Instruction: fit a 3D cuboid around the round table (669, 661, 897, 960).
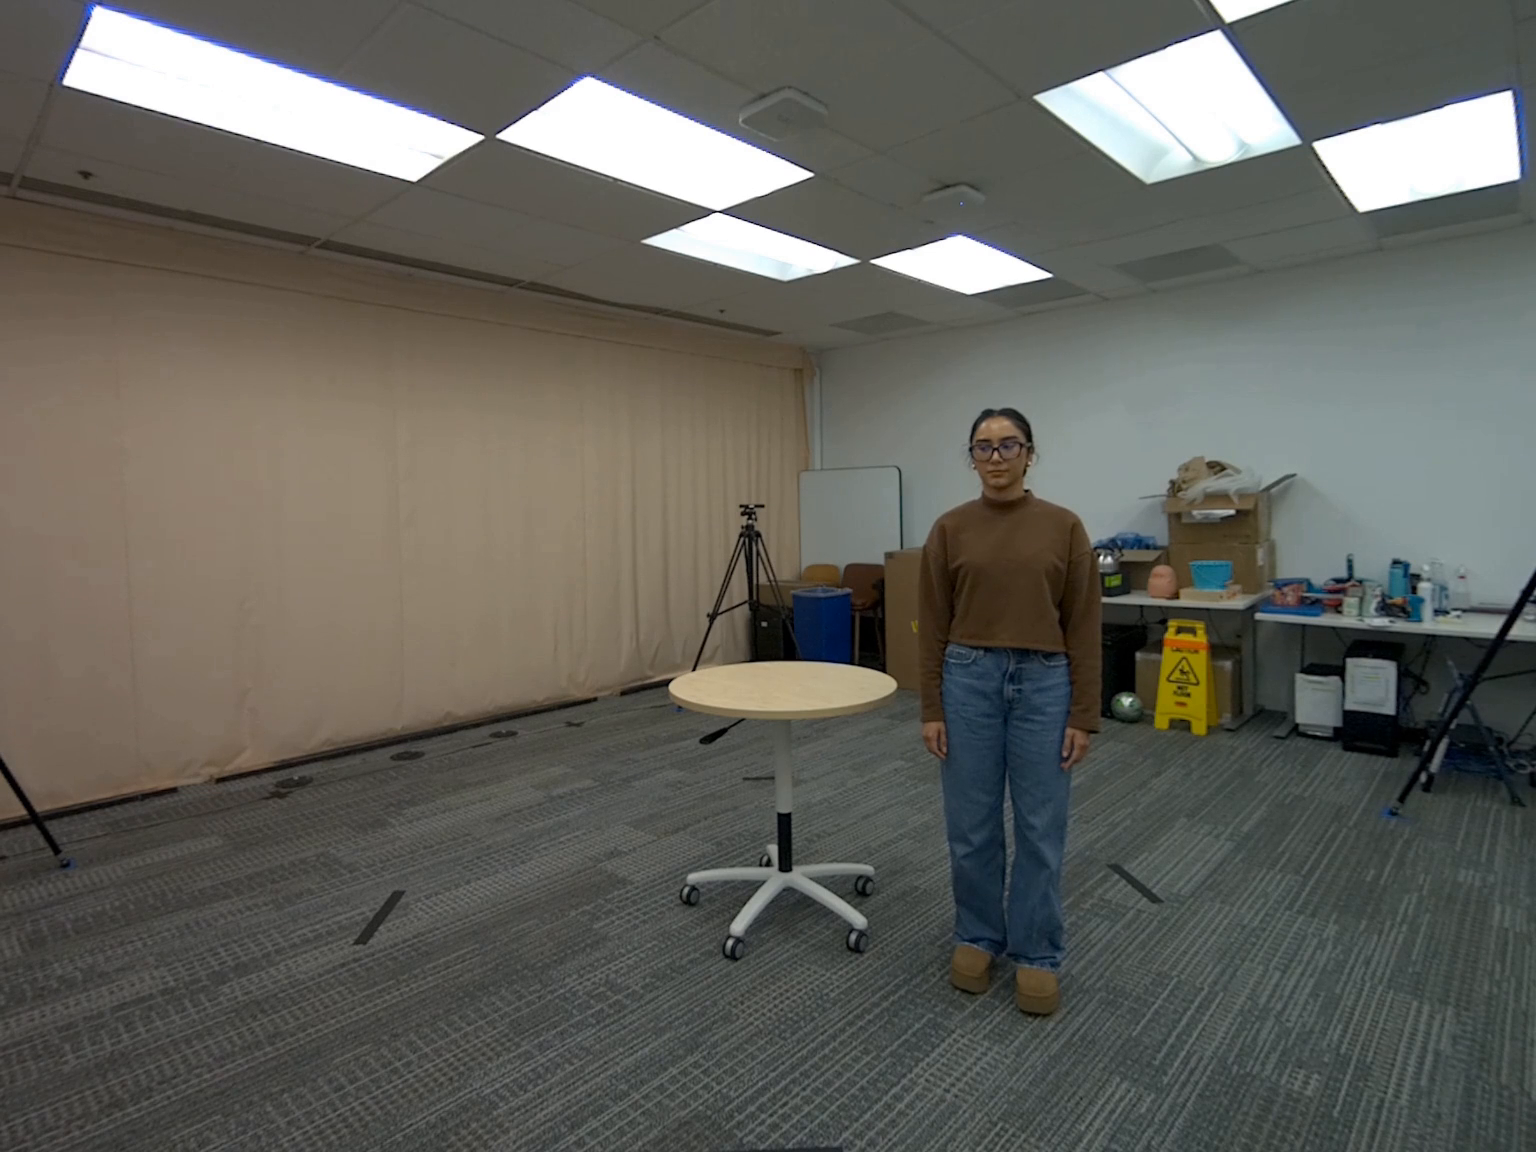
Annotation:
[{"bbox_3d":[0.060,0.757,2.871,0.763,0.792,0.767,-1,4,-2],"label":"round table"}]
